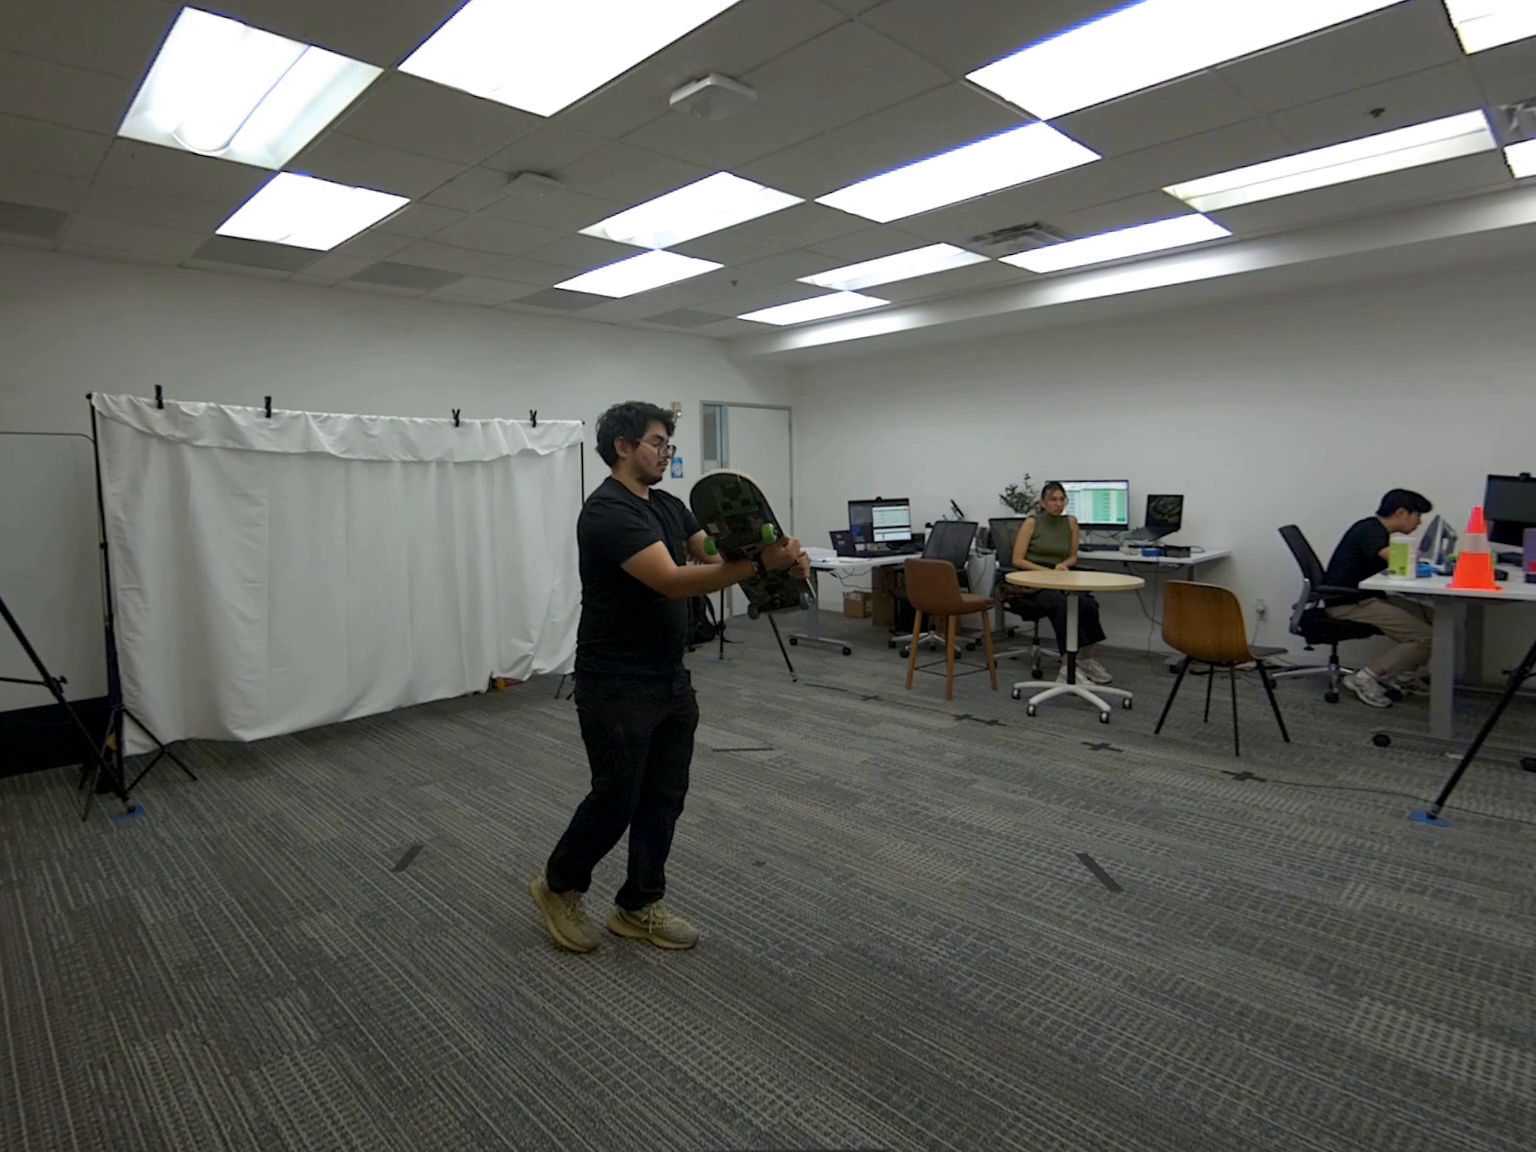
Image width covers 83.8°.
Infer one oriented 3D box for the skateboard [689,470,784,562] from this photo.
[{"bbox_3d":[-0.021,-0.023,2.347,0.195,0.113,0.757,-13,-32,13],"label":"skateboard"}]
